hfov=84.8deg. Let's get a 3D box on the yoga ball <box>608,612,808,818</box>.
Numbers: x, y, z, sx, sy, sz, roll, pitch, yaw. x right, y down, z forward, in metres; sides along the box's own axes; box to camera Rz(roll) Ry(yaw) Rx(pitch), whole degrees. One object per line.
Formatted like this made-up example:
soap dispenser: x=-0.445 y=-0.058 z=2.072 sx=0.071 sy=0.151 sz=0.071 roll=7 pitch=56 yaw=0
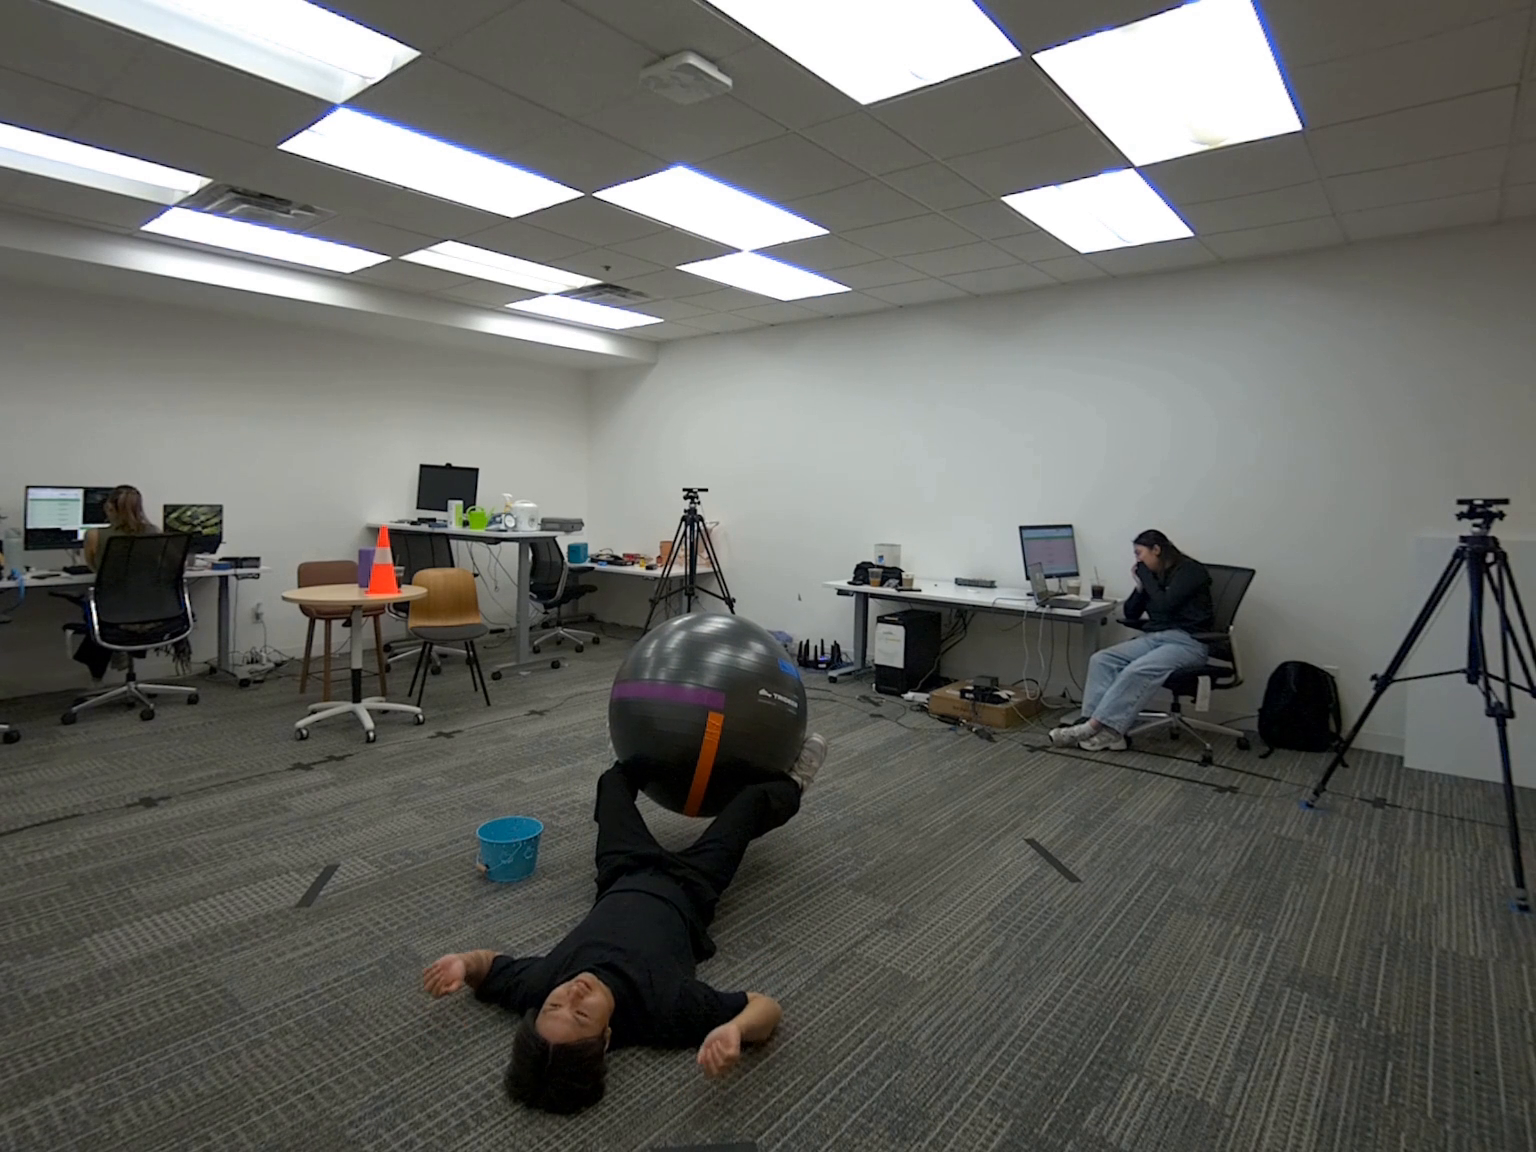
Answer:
yoga ball: x=-0.237 y=0.520 z=3.242 sx=0.757 sy=0.755 sz=0.762 roll=1 pitch=4 yaw=-2
